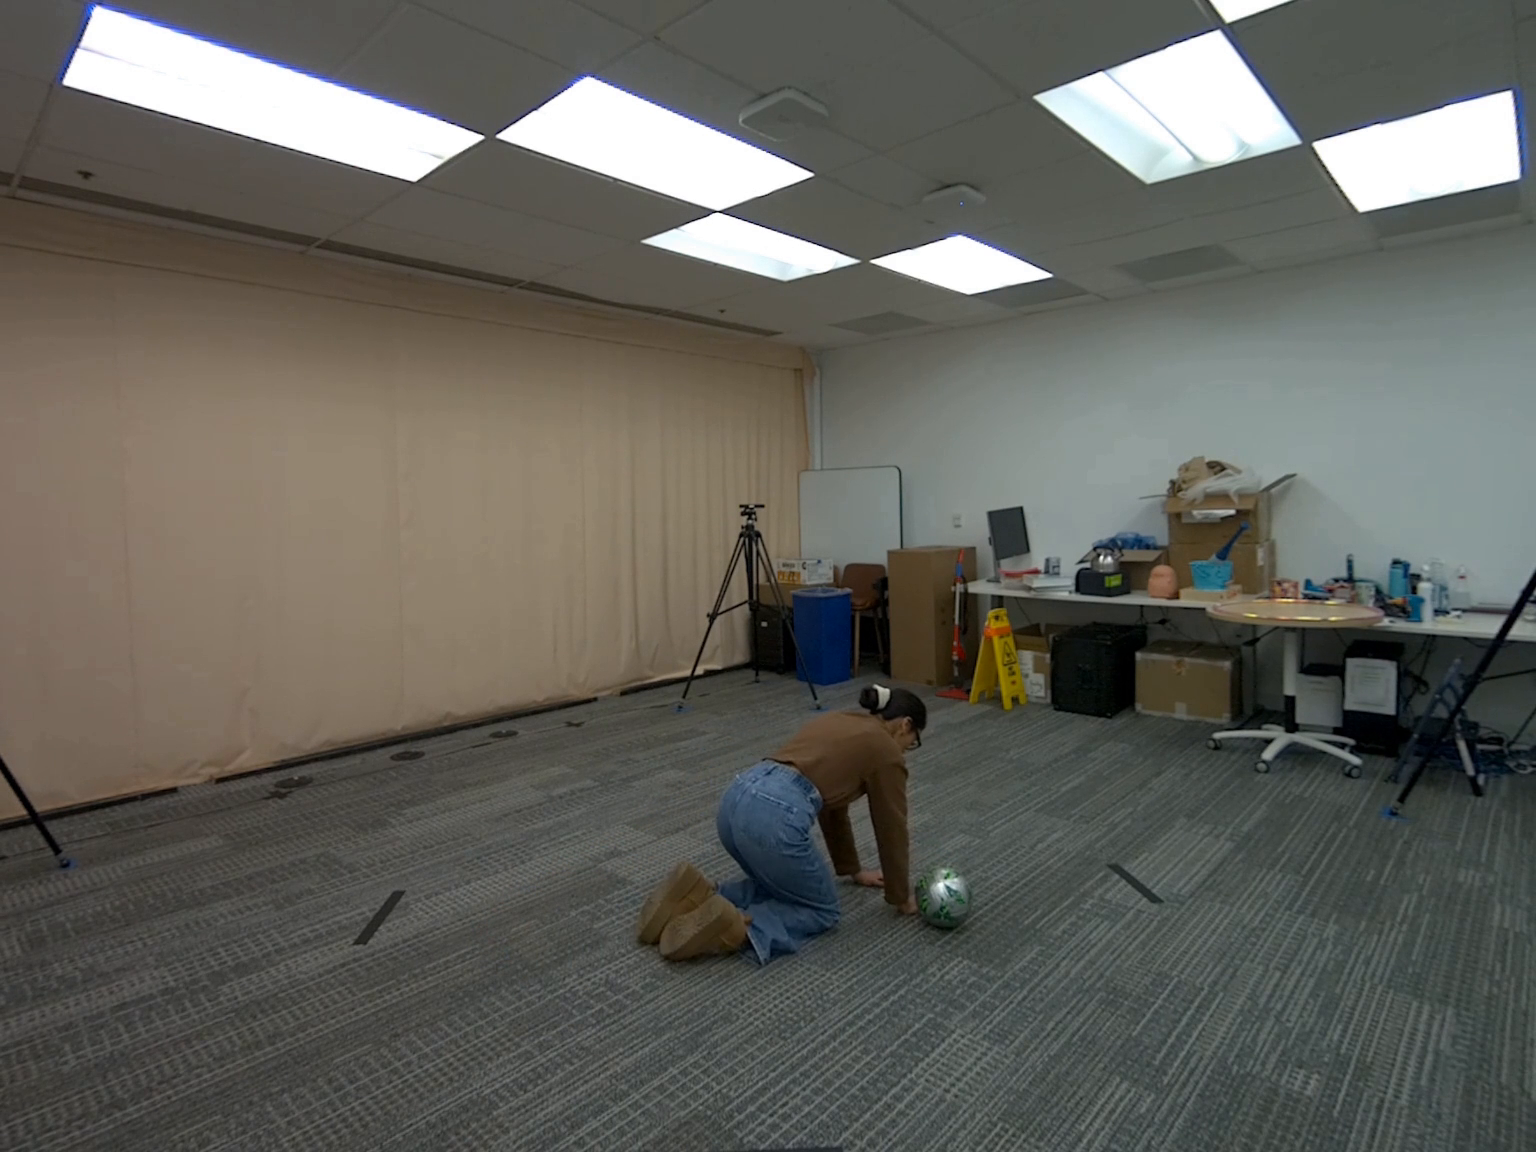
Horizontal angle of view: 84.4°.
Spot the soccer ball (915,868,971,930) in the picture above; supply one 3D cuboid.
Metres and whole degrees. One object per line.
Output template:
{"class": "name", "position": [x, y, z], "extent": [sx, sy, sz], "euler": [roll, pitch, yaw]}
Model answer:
{"class": "soccer ball", "position": [0.579, 1.055, 2.753], "extent": [0.187, 0.187, 0.188], "euler": [-1, 4, -2]}
